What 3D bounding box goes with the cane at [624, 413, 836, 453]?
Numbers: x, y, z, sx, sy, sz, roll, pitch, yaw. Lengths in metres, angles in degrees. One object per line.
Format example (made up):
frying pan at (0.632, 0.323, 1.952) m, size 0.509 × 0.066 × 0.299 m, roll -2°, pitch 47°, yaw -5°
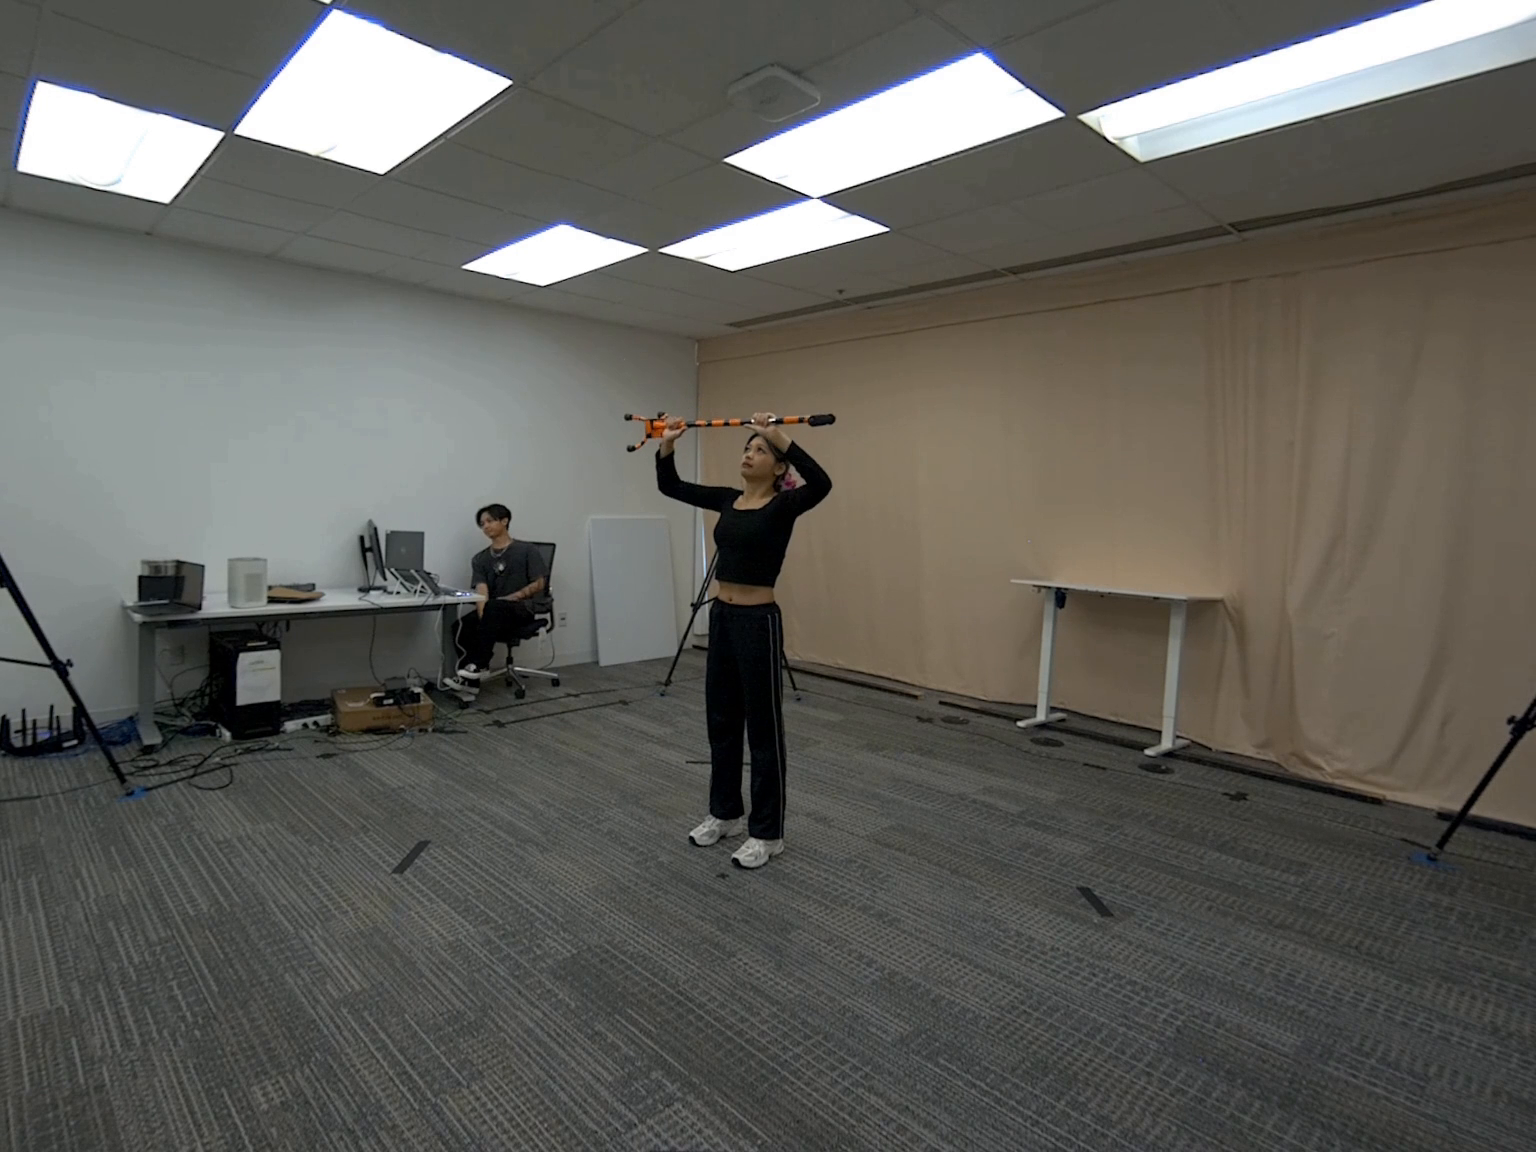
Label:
cane at (-0.145, -0.540, 3.045) m, size 0.931 × 0.150 × 0.203 m, roll 6°, pitch 14°, yaw 41°
